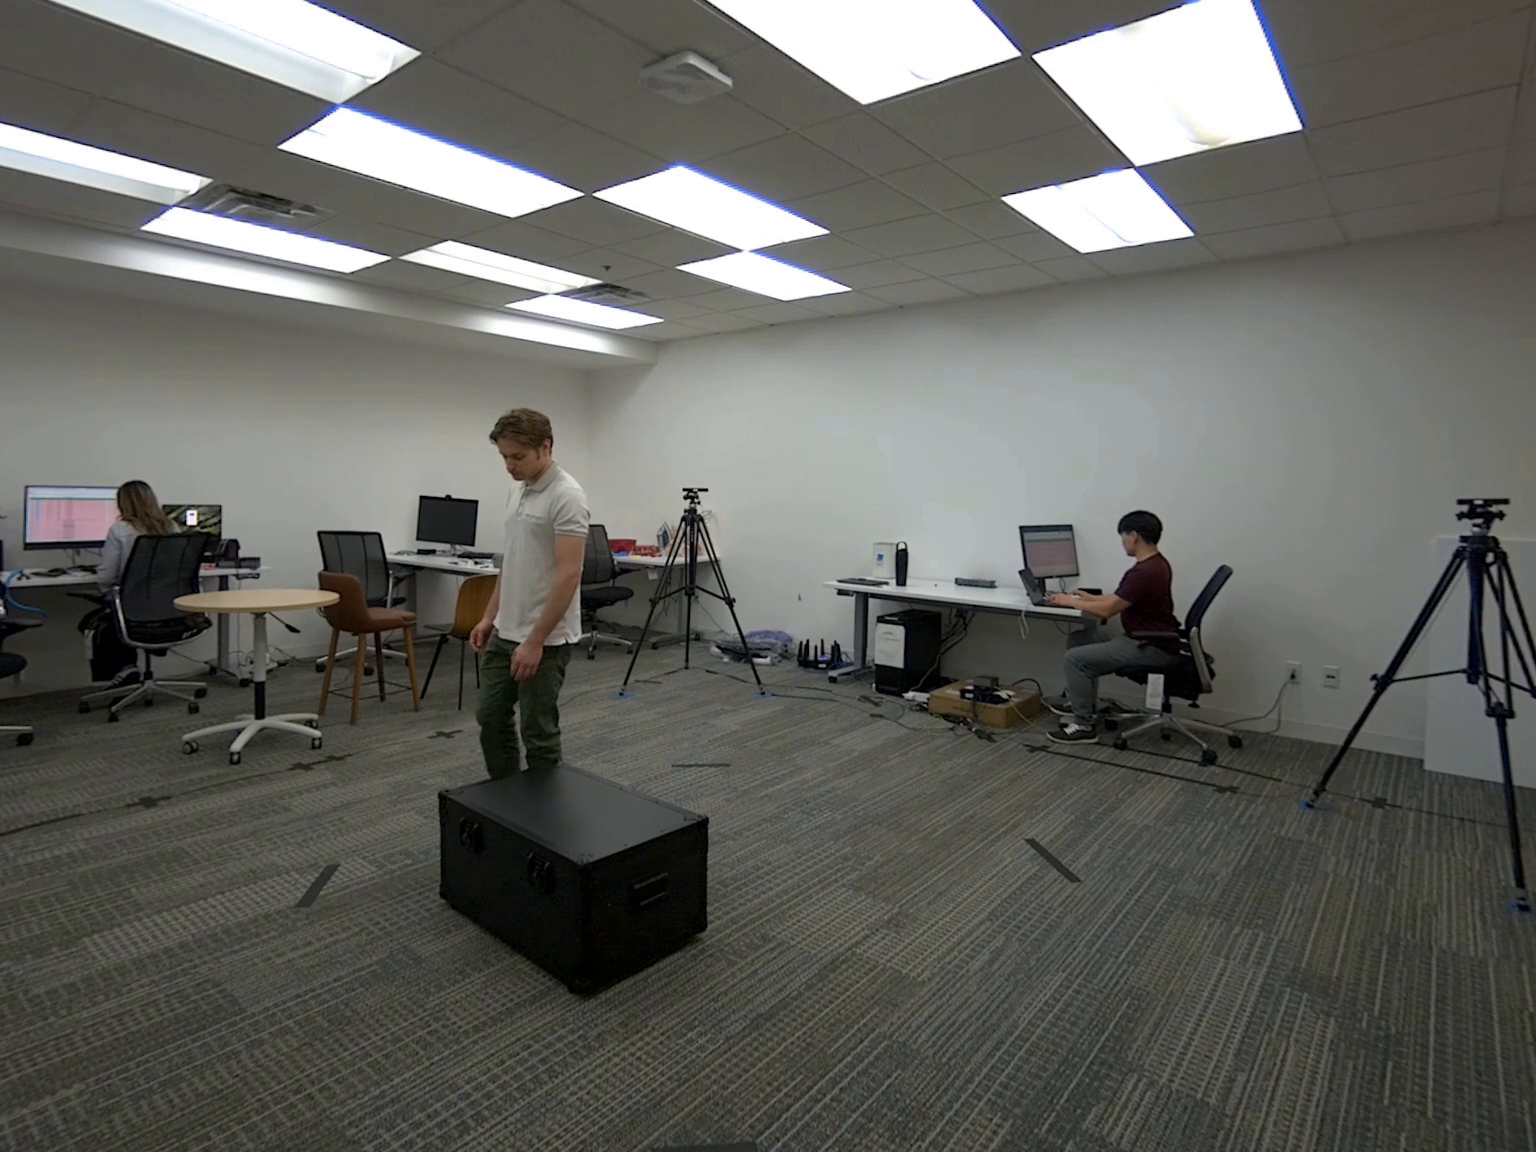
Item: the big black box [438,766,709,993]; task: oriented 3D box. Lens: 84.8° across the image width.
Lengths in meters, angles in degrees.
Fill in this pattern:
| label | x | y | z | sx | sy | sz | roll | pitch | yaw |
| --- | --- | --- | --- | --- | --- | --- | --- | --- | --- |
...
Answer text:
| label | x | y | z | sx | sy | sz | roll | pitch | yaw |
| --- | --- | --- | --- | --- | --- | --- | --- | --- | --- |
| big black box | -0.667 | 0.908 | 2.738 | 0.891 | 0.395 | 0.506 | 6 | 6 | 42 |
